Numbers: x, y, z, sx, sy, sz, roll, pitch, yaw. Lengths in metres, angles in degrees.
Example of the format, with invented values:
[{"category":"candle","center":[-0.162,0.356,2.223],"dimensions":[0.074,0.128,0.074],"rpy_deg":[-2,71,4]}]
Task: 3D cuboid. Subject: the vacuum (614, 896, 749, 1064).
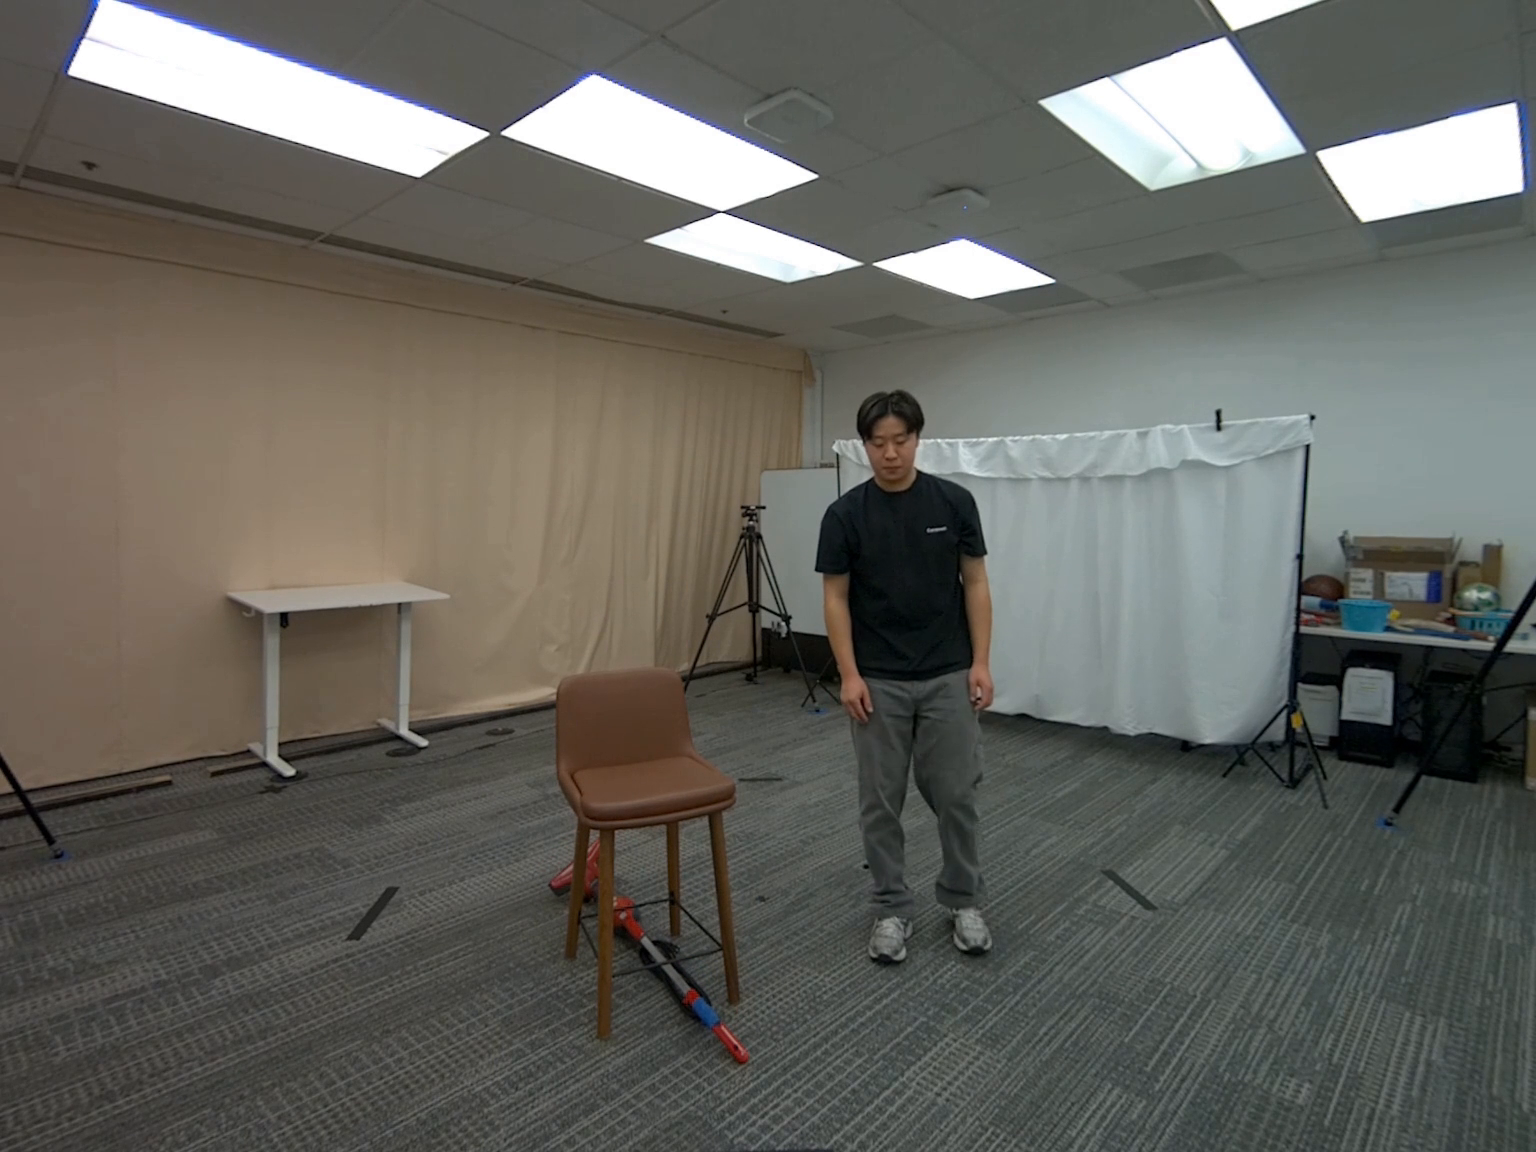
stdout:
[{"category":"vacuum","center":[-0.362,1.141,2.560],"dimensions":[0.250,0.140,1.083],"rpy_deg":[-40,27,-20]}]
